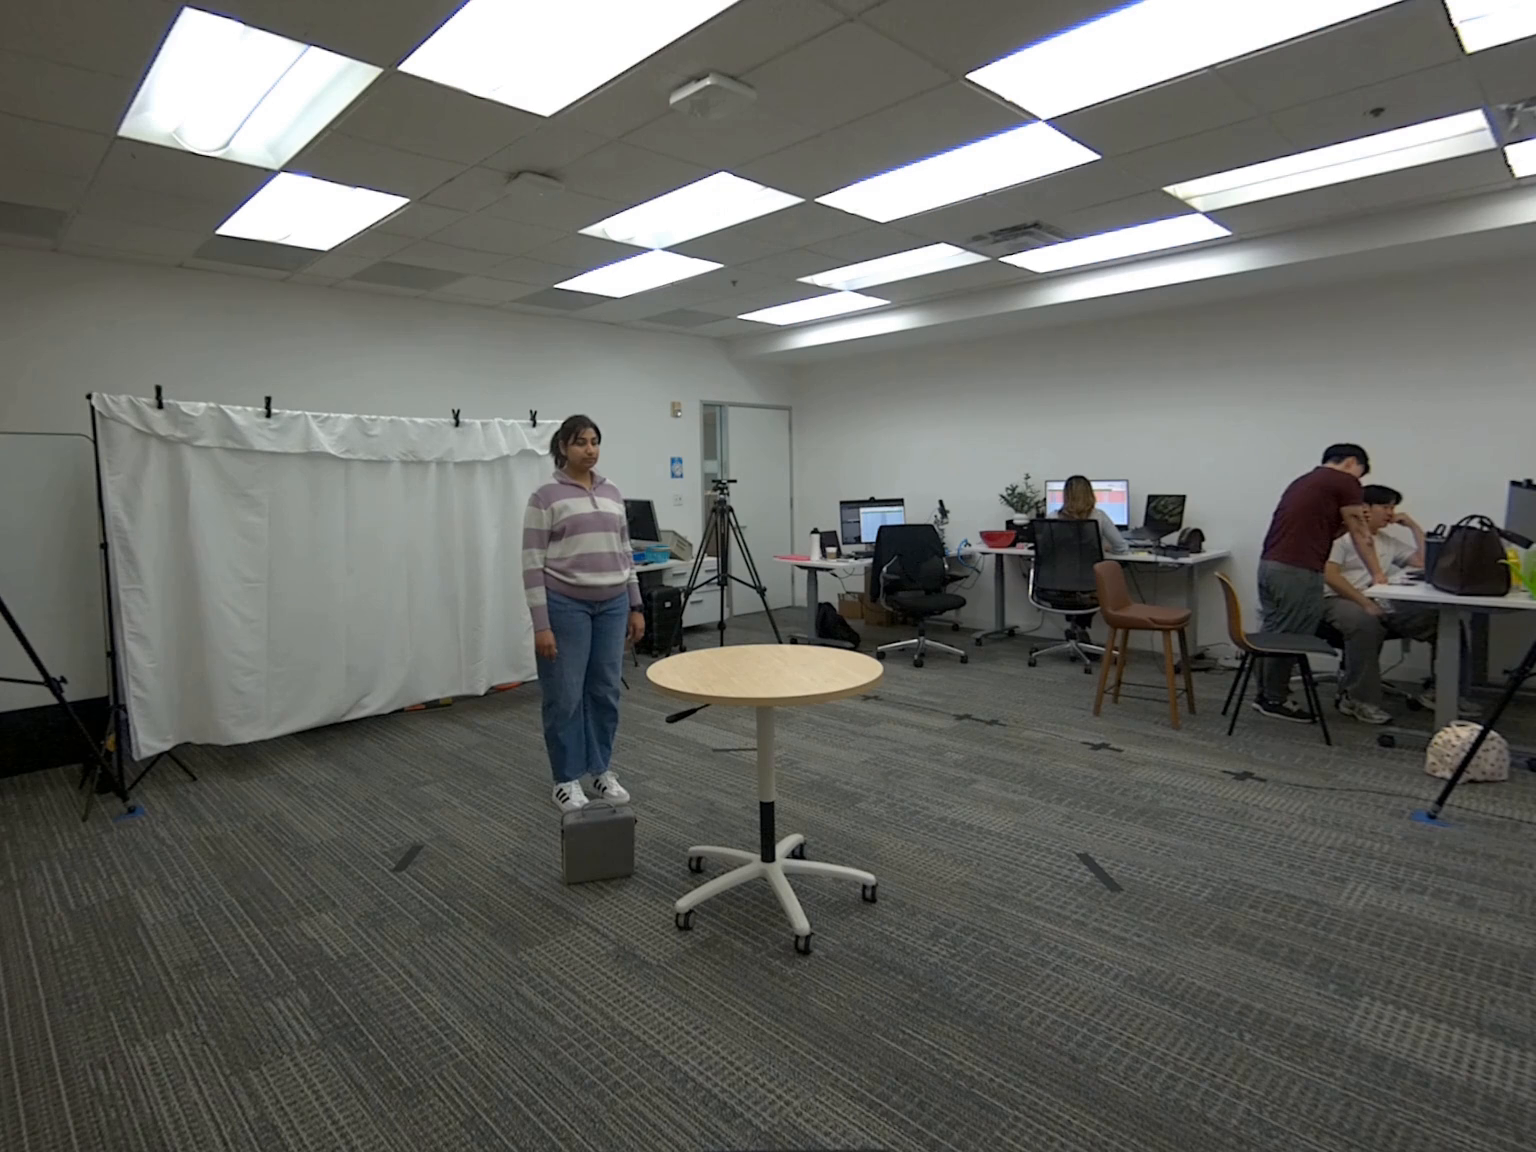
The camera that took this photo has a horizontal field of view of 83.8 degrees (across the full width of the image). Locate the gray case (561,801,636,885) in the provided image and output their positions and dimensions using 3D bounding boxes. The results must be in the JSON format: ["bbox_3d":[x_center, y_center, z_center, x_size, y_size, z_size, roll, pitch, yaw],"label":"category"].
[{"bbox_3d":[-0.593,0.933,3.013,0.253,0.258,0.107,-2,13,-16],"label":"gray case"}]
